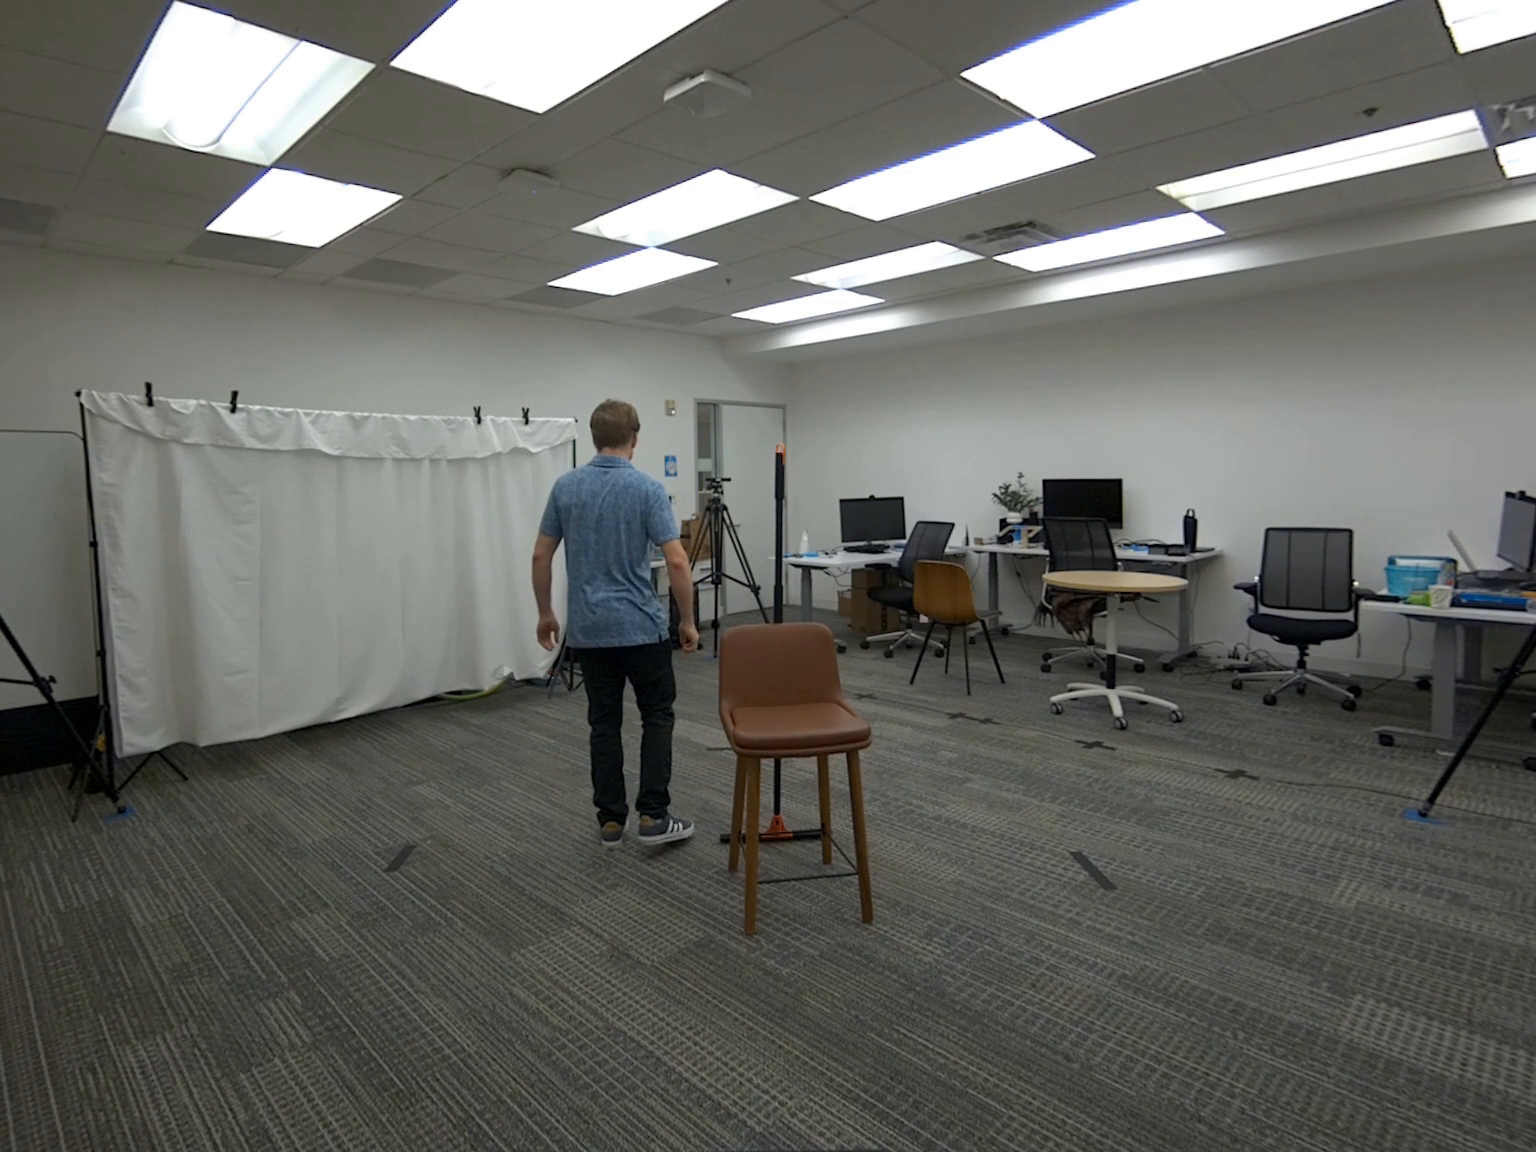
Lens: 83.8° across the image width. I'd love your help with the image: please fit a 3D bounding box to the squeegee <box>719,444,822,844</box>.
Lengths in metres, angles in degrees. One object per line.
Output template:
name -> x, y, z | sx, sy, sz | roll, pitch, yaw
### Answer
squeegee -> 0.044, 0.276, 3.116 | 0.441, 1.521, 0.053 | 1, 12, 7
